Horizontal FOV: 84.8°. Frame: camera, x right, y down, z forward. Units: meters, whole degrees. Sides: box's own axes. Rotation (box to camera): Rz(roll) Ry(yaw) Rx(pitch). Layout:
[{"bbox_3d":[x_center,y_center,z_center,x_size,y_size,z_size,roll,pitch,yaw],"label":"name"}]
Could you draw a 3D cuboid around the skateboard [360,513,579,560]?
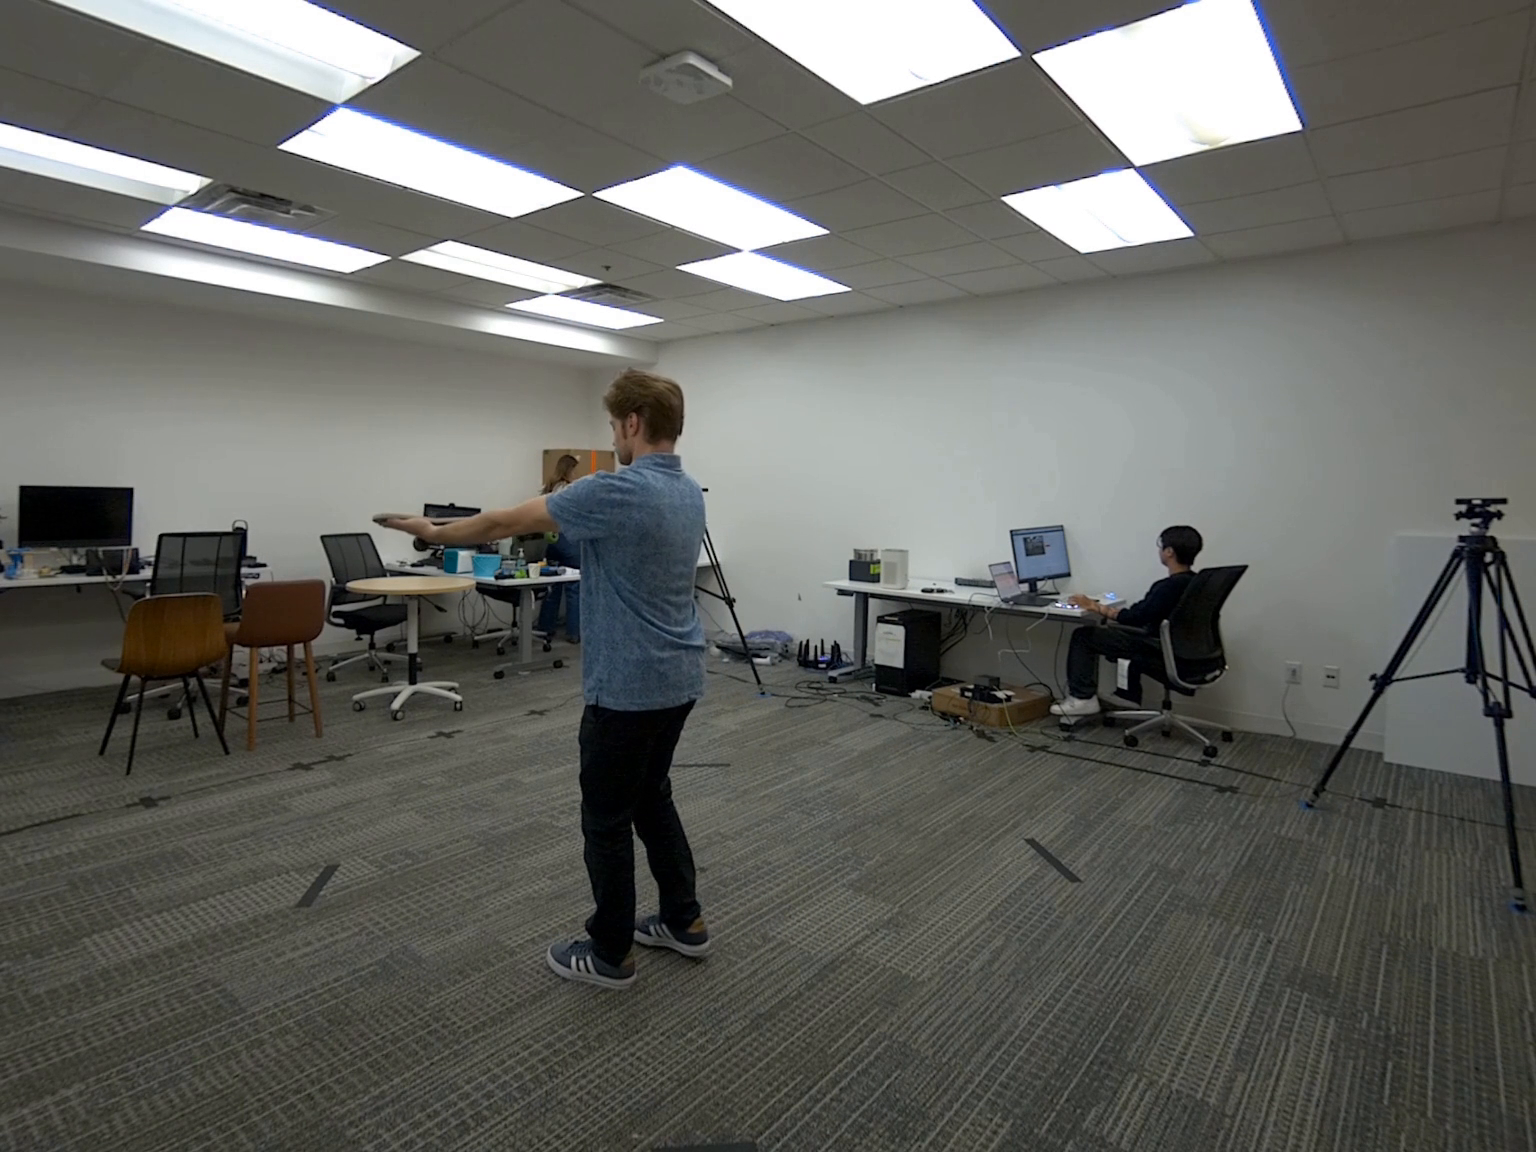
[{"bbox_3d":[-0.893,-0.139,2.705,0.198,0.110,0.764,-5,2,32],"label":"skateboard"}]
